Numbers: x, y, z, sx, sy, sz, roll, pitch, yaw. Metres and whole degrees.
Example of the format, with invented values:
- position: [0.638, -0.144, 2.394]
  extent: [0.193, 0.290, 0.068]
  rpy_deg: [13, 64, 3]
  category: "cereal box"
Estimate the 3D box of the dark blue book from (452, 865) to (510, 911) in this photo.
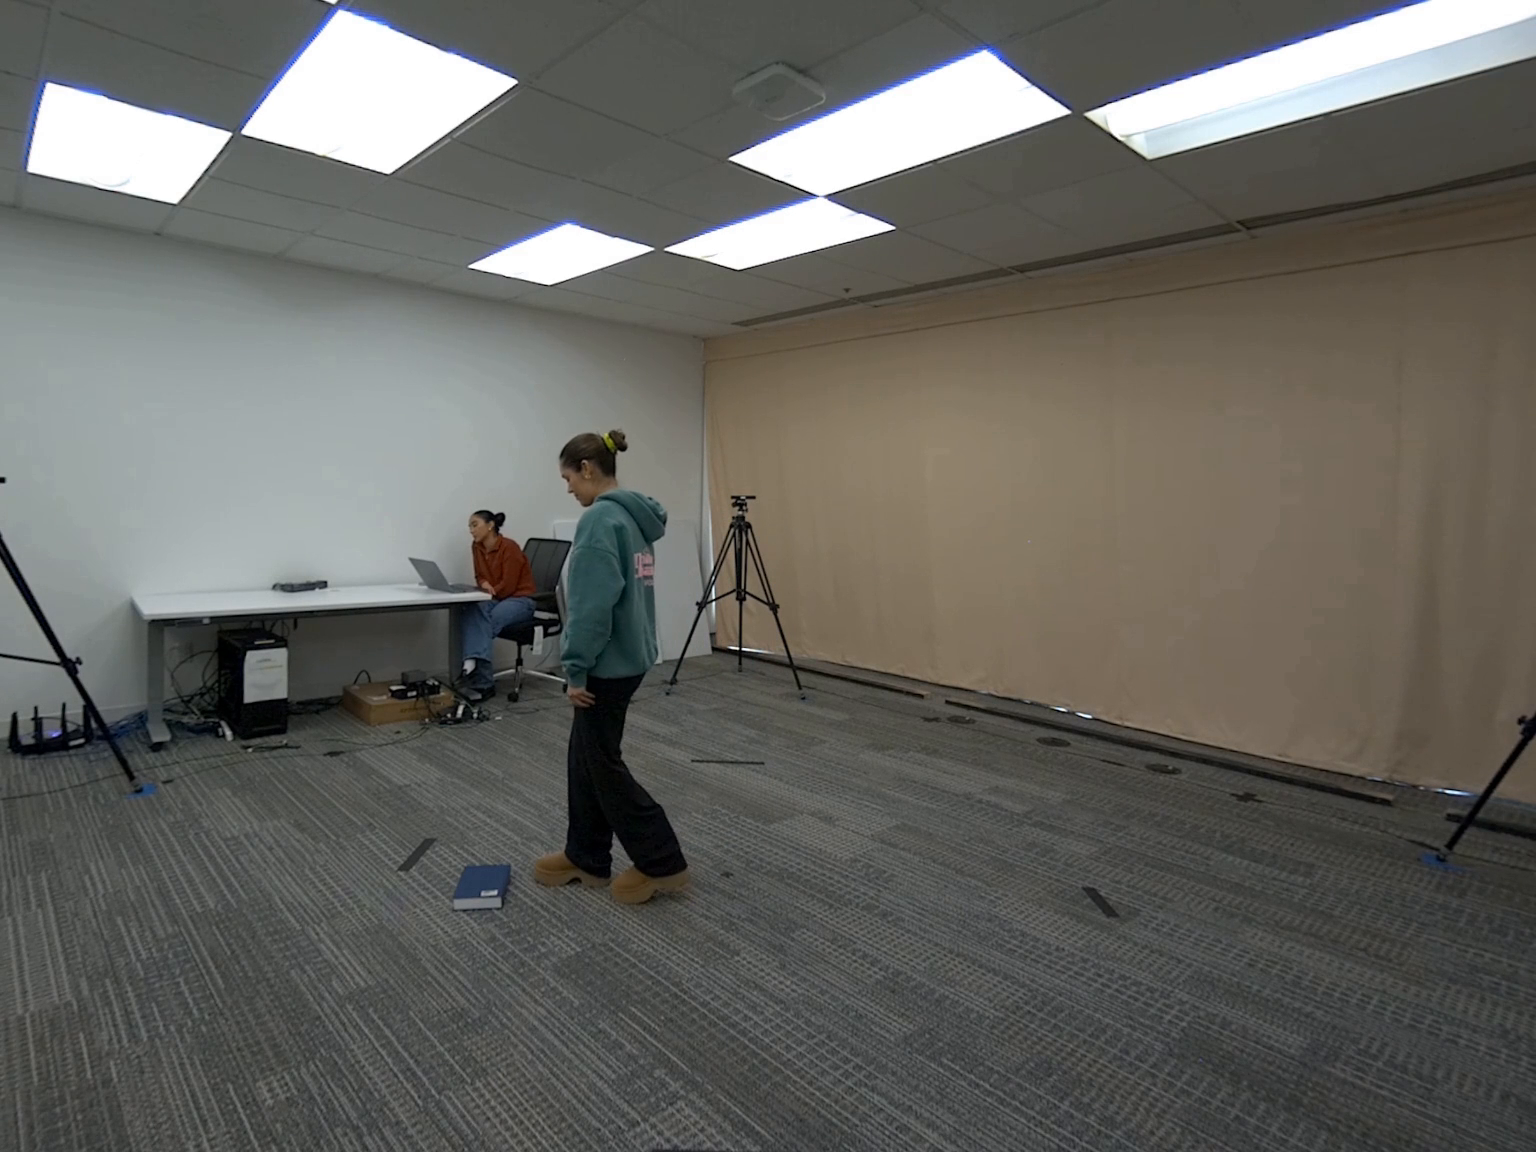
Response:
- position: [-0.989, 1.073, 2.915]
  extent: [0.162, 0.045, 0.248]
  rpy_deg: [0, 6, -10]
  category: "dark blue book"
